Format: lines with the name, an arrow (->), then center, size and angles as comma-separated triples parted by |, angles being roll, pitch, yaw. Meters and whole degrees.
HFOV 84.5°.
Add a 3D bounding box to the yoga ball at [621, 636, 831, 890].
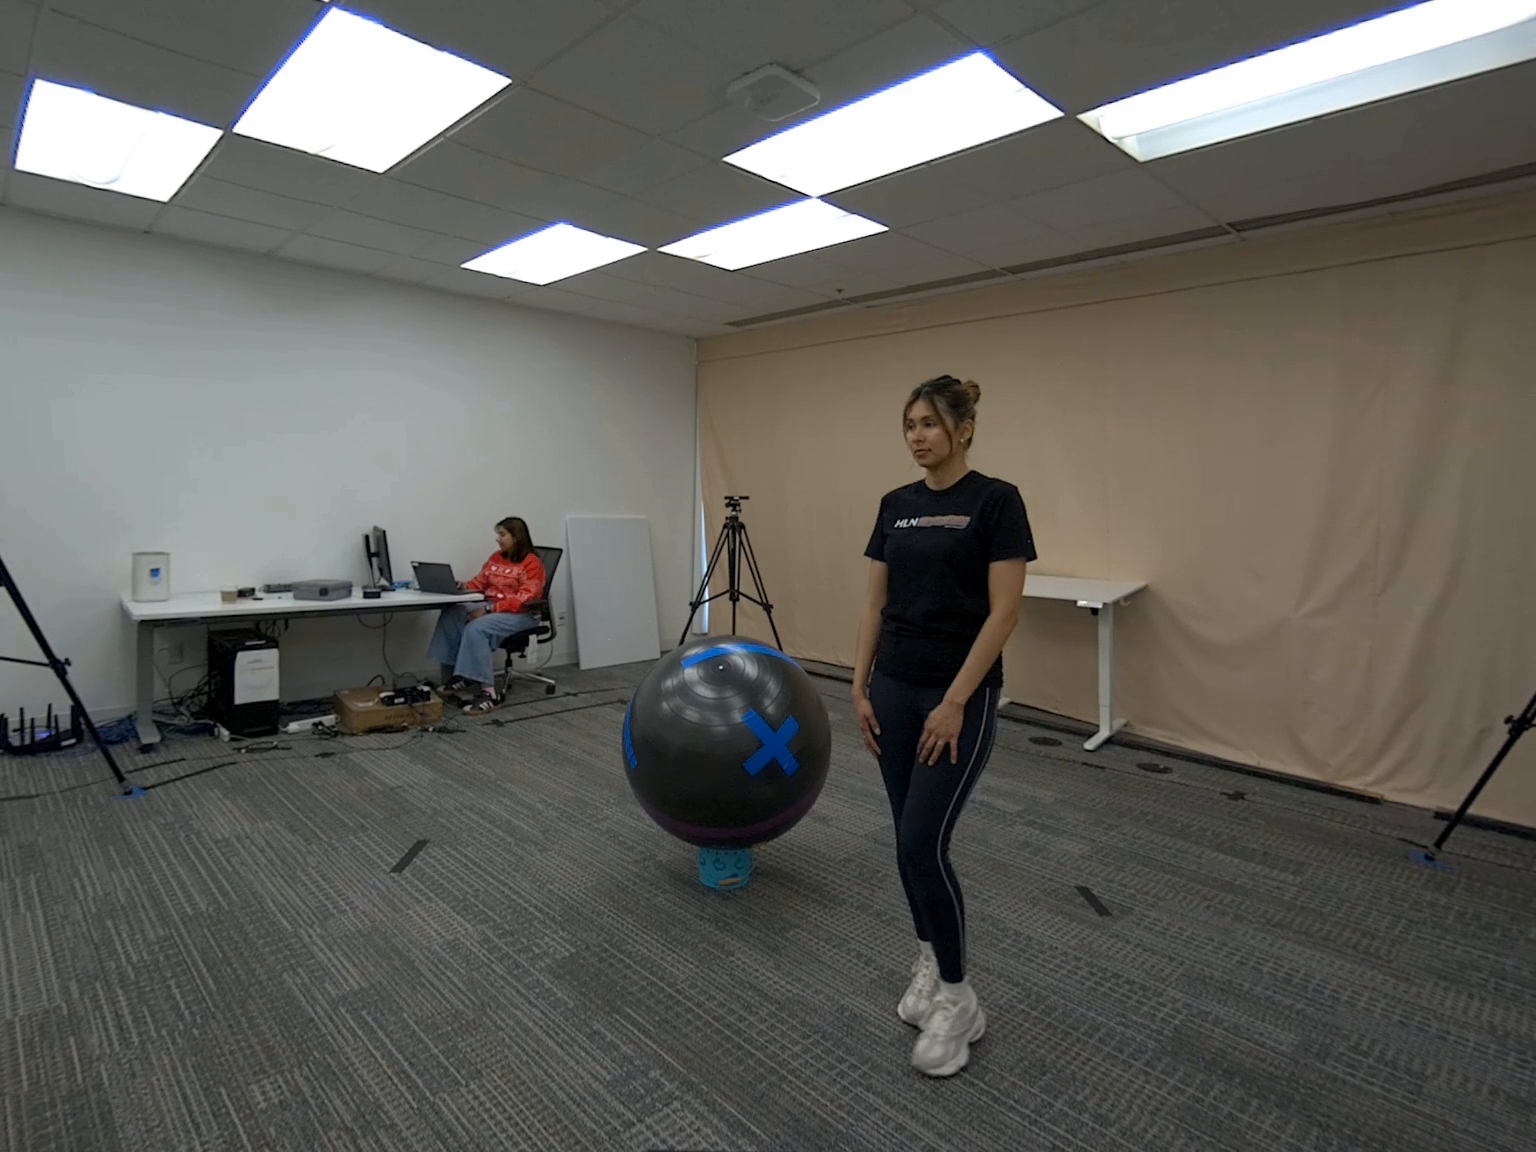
yoga ball -> -0.154, 0.597, 3.048 | 0.757, 0.756, 0.761 | 1, 4, -1
